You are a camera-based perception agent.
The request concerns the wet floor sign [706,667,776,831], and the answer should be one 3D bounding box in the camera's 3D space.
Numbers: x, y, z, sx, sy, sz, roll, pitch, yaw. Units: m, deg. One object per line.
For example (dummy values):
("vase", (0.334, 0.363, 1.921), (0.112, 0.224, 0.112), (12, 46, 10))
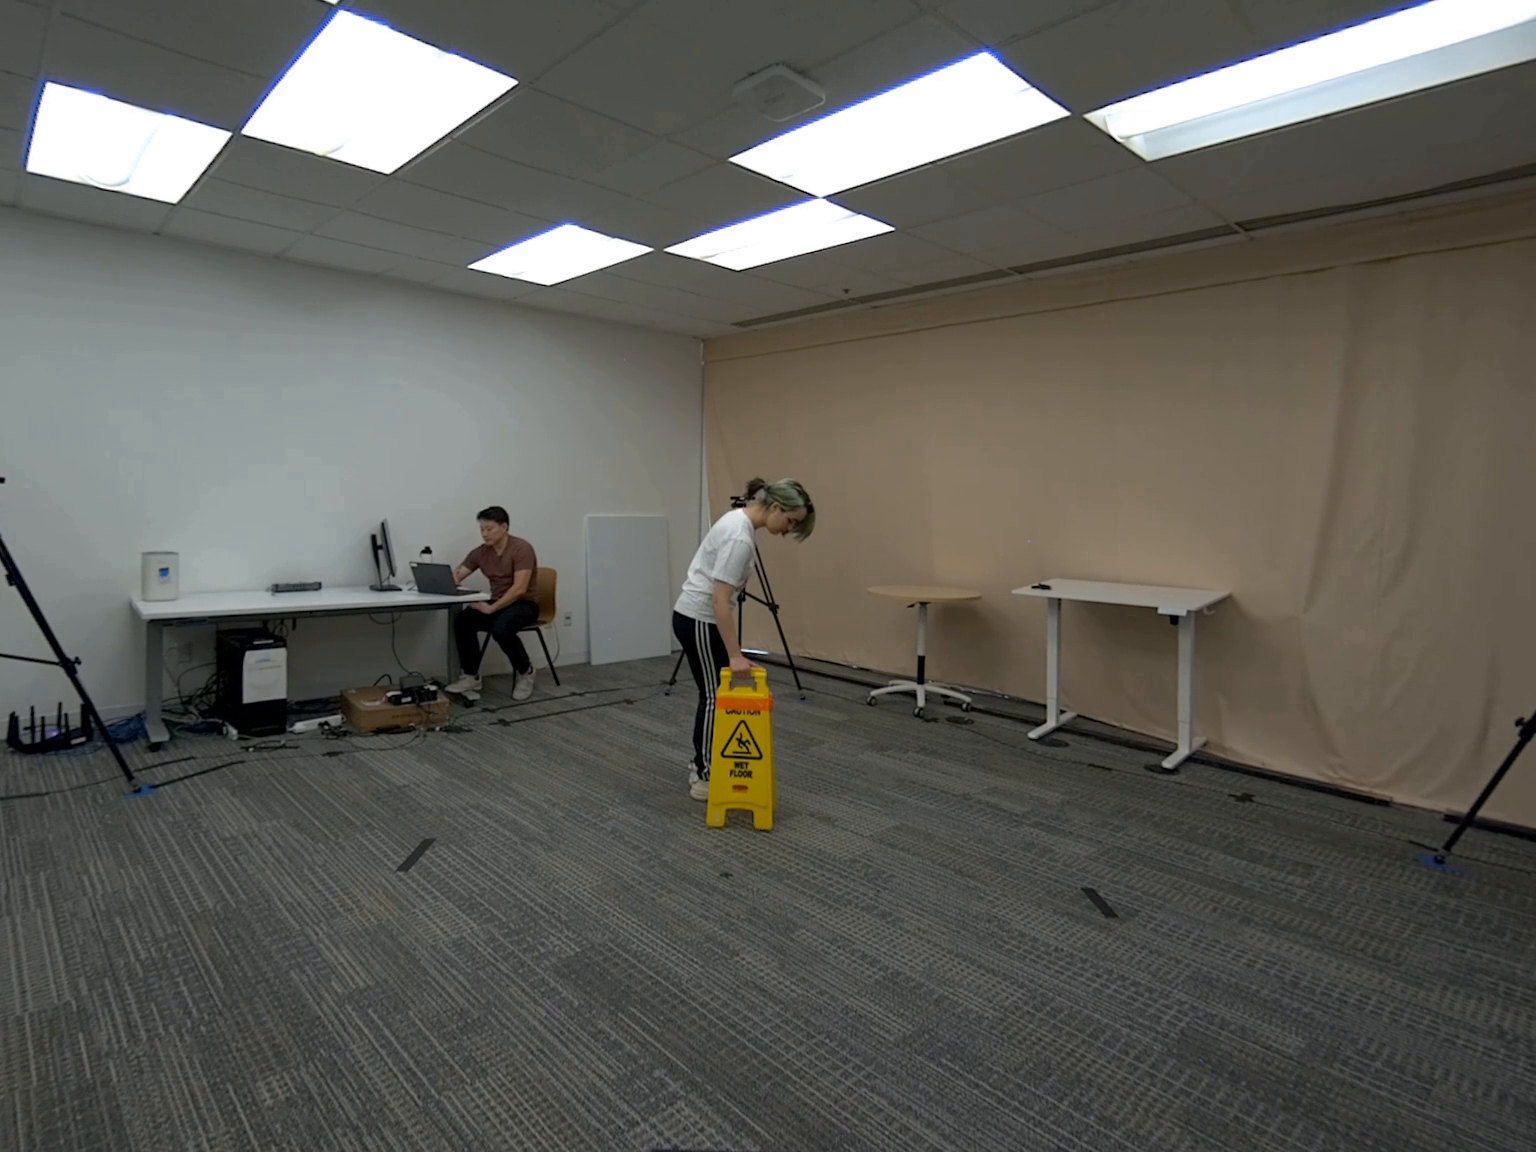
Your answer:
("wet floor sign", (-0.116, 0.715, 3.630), (0.283, 0.644, 0.289), (0, 4, 5))
